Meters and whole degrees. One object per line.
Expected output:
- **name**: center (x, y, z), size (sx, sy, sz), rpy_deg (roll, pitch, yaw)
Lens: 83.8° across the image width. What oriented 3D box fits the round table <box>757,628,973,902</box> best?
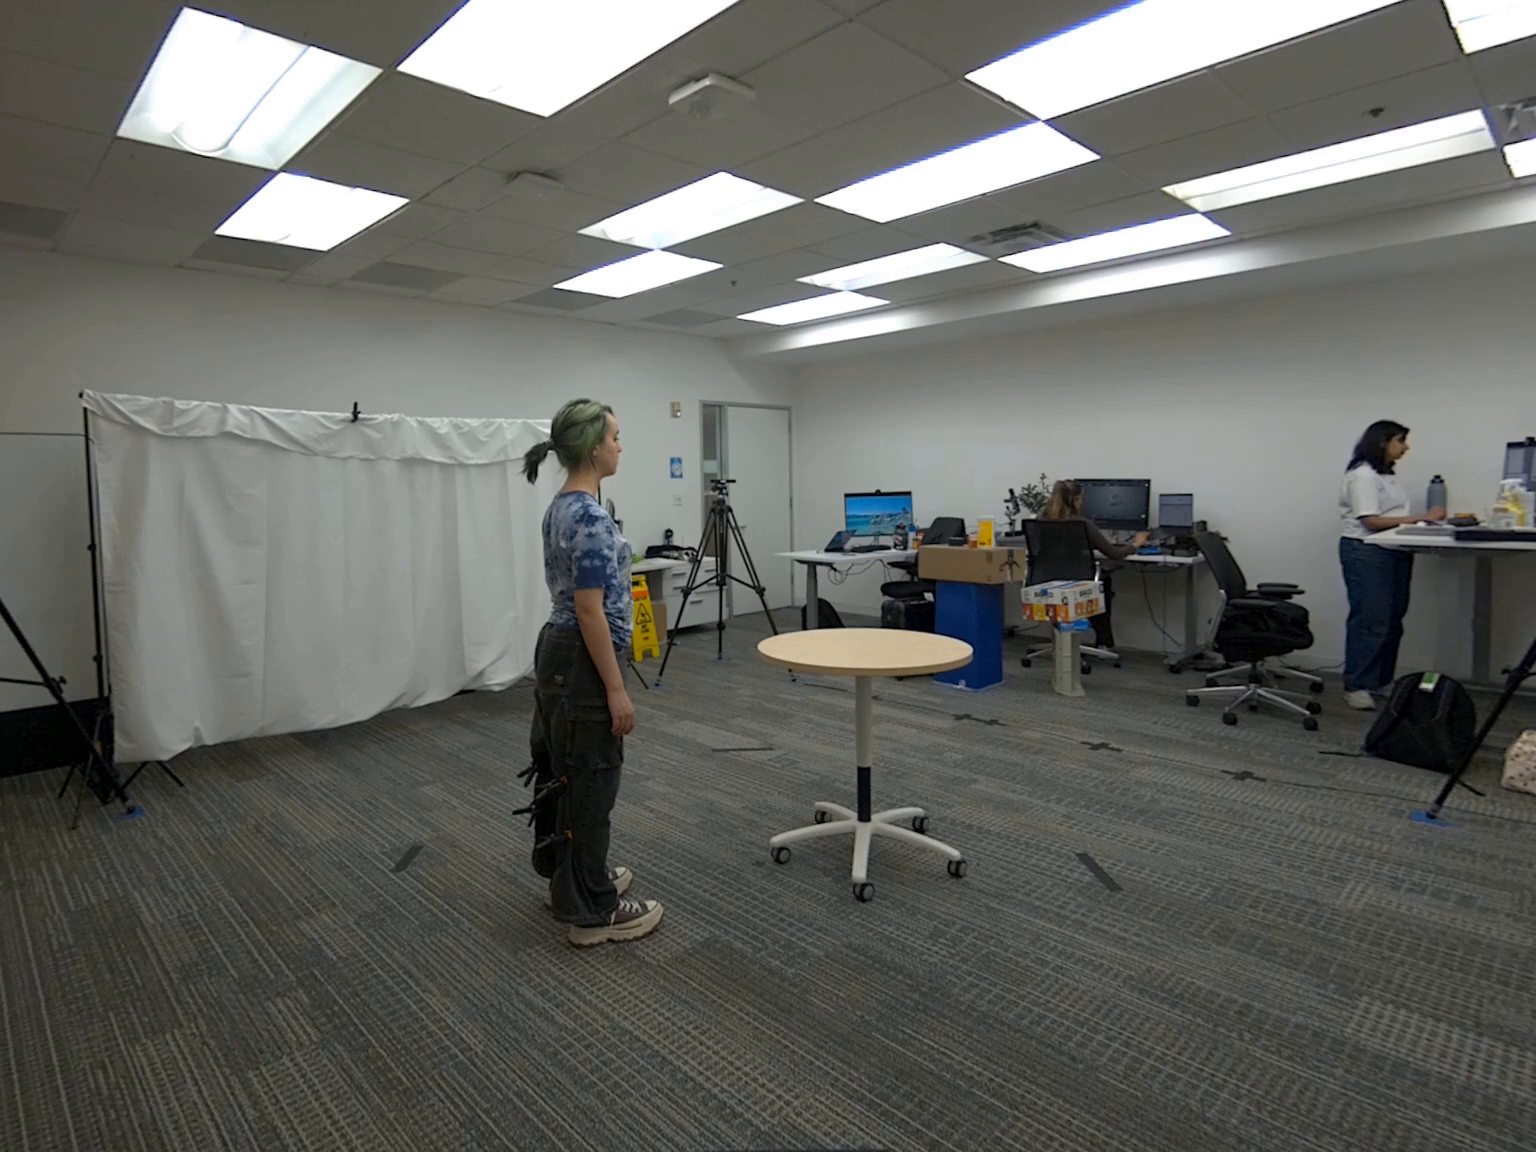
- **round table**: center (0.353, 0.649, 3.128), size (0.763, 0.791, 0.767), rpy_deg (-1, 4, -2)
